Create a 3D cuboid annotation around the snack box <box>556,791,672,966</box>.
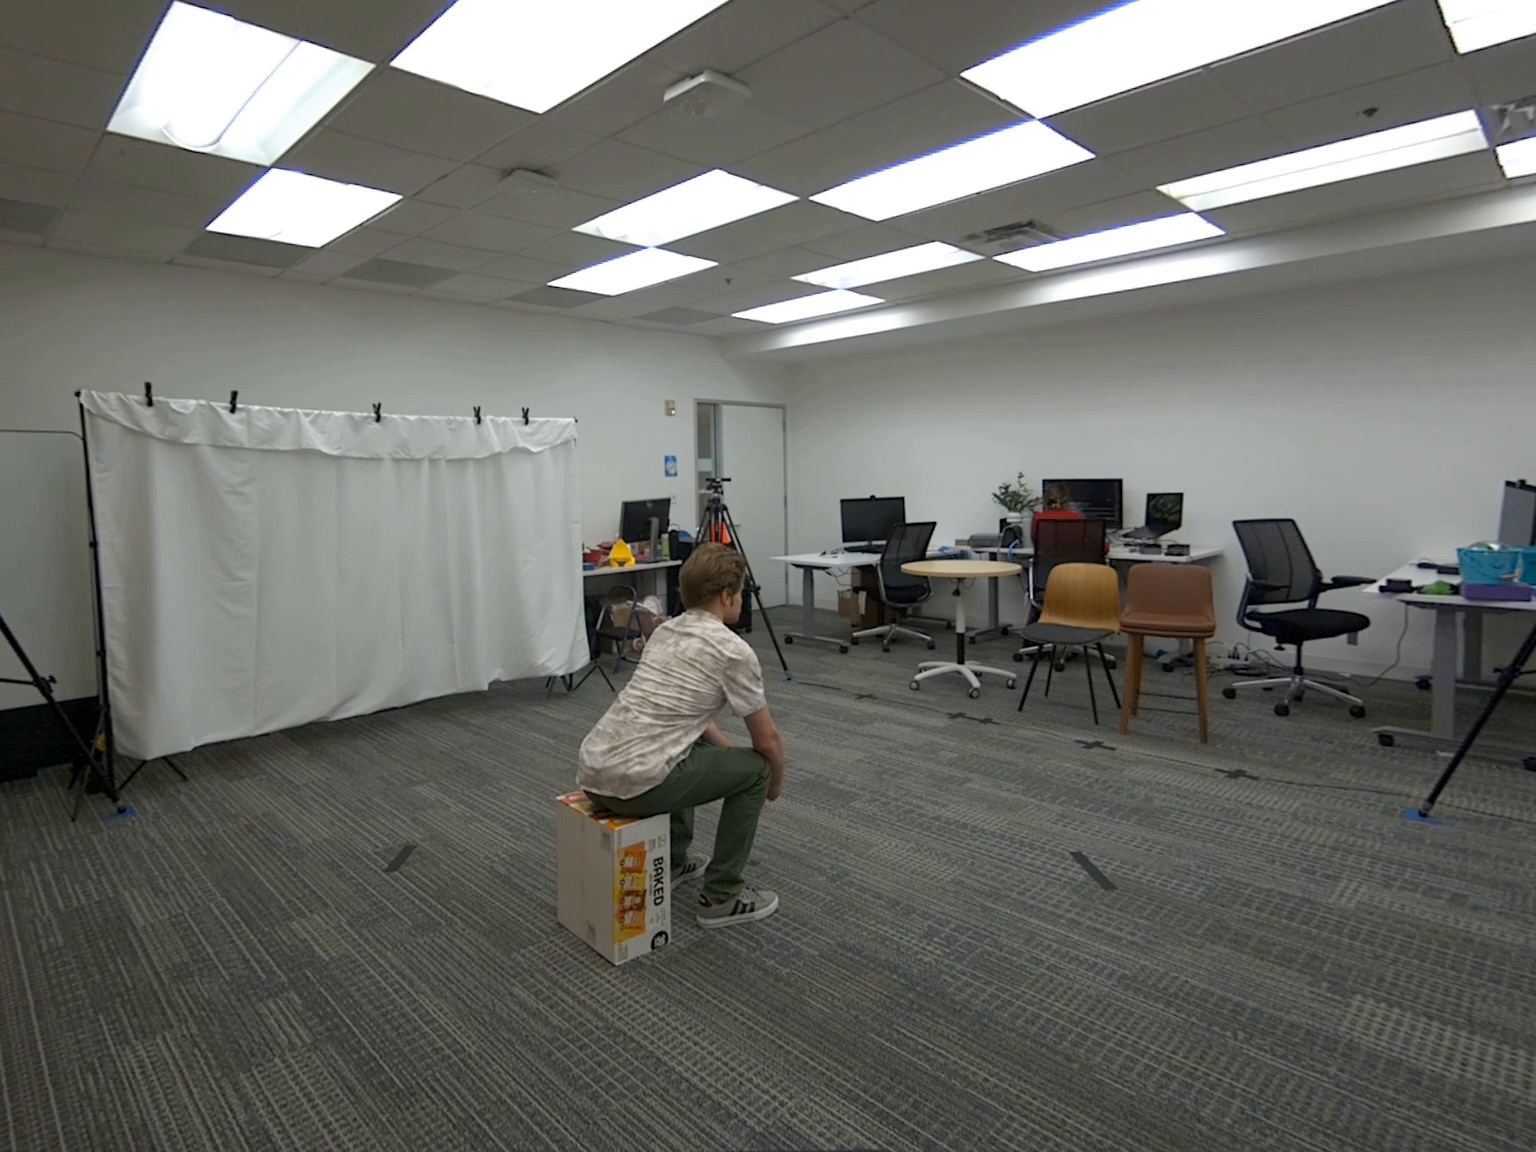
[{"bbox_3d":[-0.481,0.905,2.638,0.200,0.404,0.351,-3,6,-42],"label":"snack box"}]
